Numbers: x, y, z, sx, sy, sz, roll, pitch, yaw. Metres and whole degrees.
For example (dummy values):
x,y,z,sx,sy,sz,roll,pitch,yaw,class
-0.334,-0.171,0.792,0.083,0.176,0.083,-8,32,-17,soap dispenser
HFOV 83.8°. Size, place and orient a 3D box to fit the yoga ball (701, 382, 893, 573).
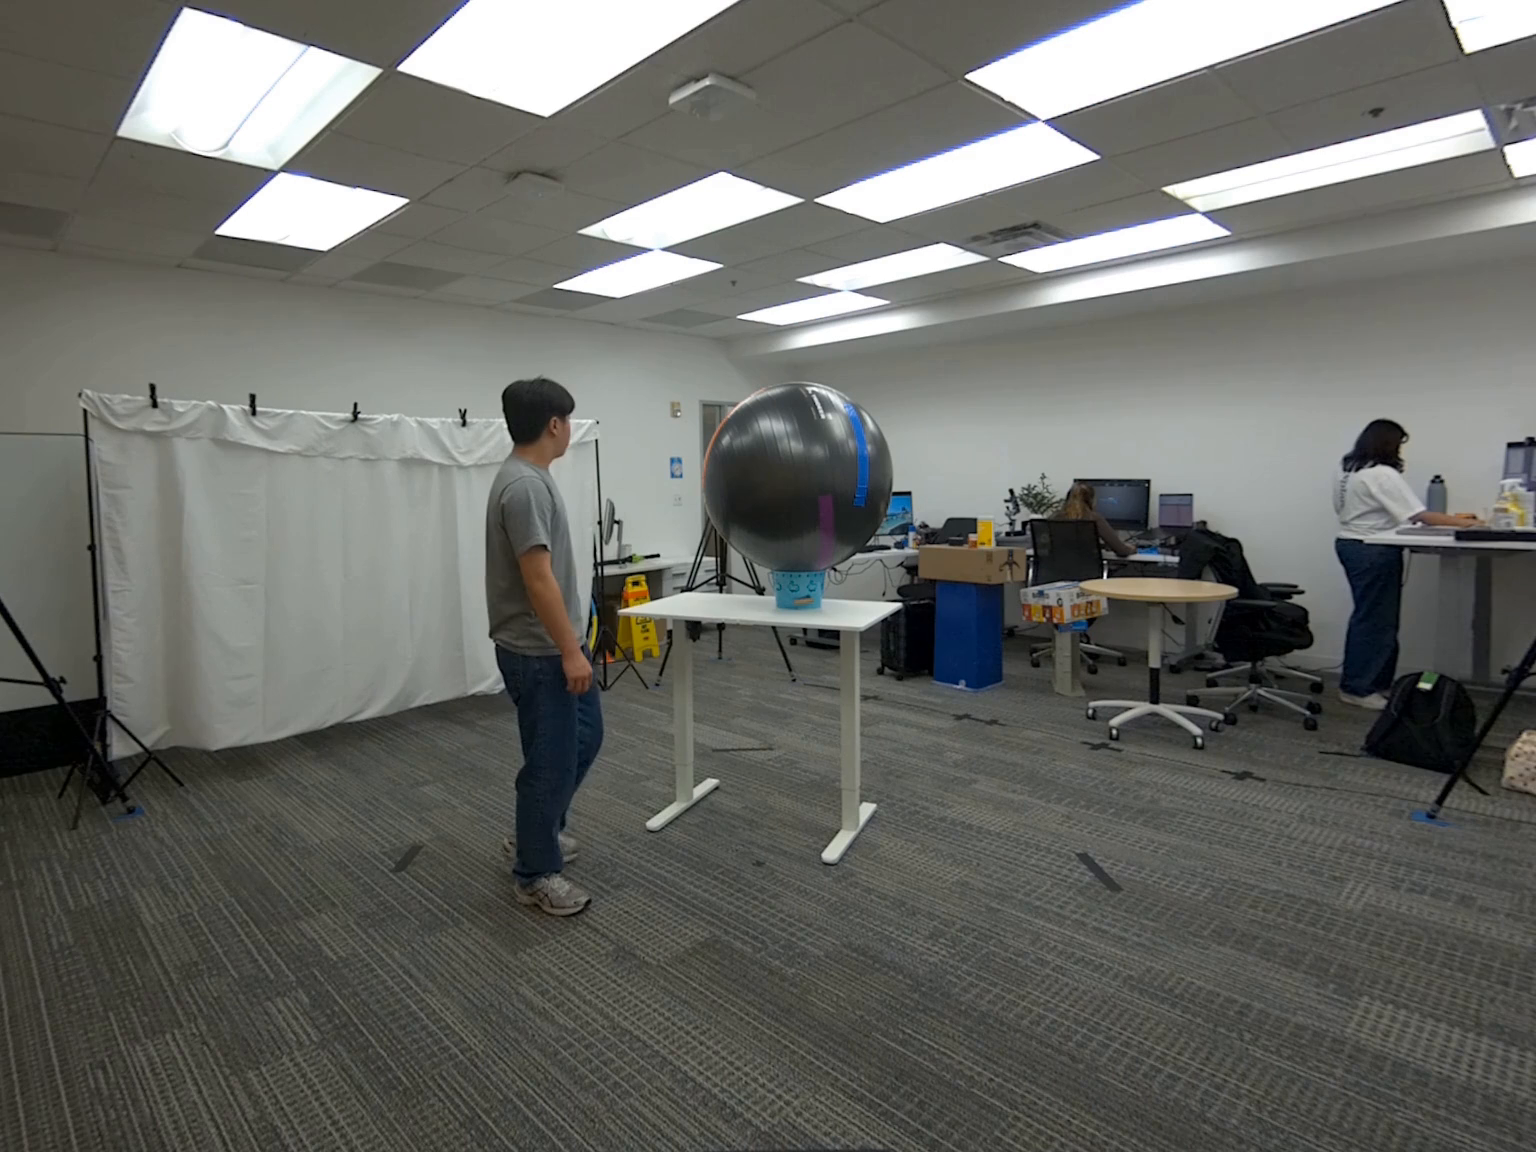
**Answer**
x,y,z,sx,sy,sz,roll,pitch,yaw,class
0.110,-0.385,3.428,0.757,0.755,0.762,-1,5,-2,yoga ball
